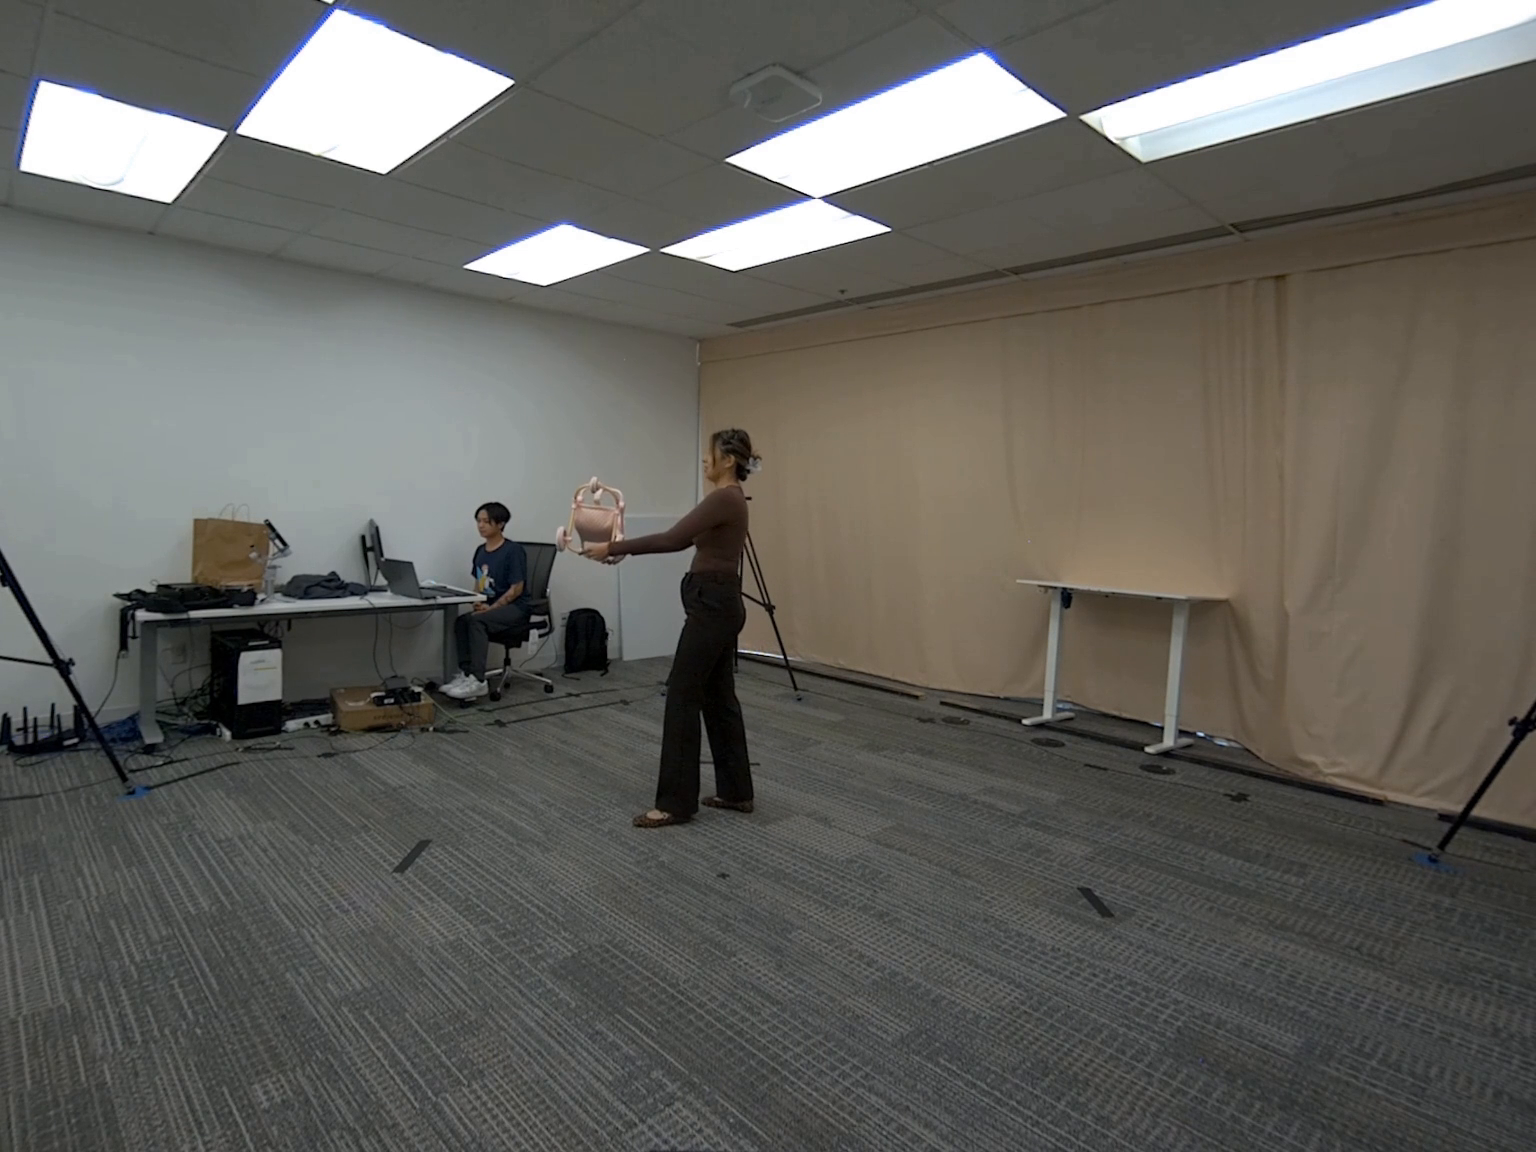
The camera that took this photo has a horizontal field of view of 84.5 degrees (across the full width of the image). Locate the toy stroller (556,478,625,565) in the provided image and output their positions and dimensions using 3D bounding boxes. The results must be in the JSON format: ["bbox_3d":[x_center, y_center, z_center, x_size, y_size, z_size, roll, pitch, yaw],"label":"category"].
[{"bbox_3d":[-0.768,-0.240,3.764,0.281,0.342,0.534,3,-2,-1],"label":"toy stroller"}]
